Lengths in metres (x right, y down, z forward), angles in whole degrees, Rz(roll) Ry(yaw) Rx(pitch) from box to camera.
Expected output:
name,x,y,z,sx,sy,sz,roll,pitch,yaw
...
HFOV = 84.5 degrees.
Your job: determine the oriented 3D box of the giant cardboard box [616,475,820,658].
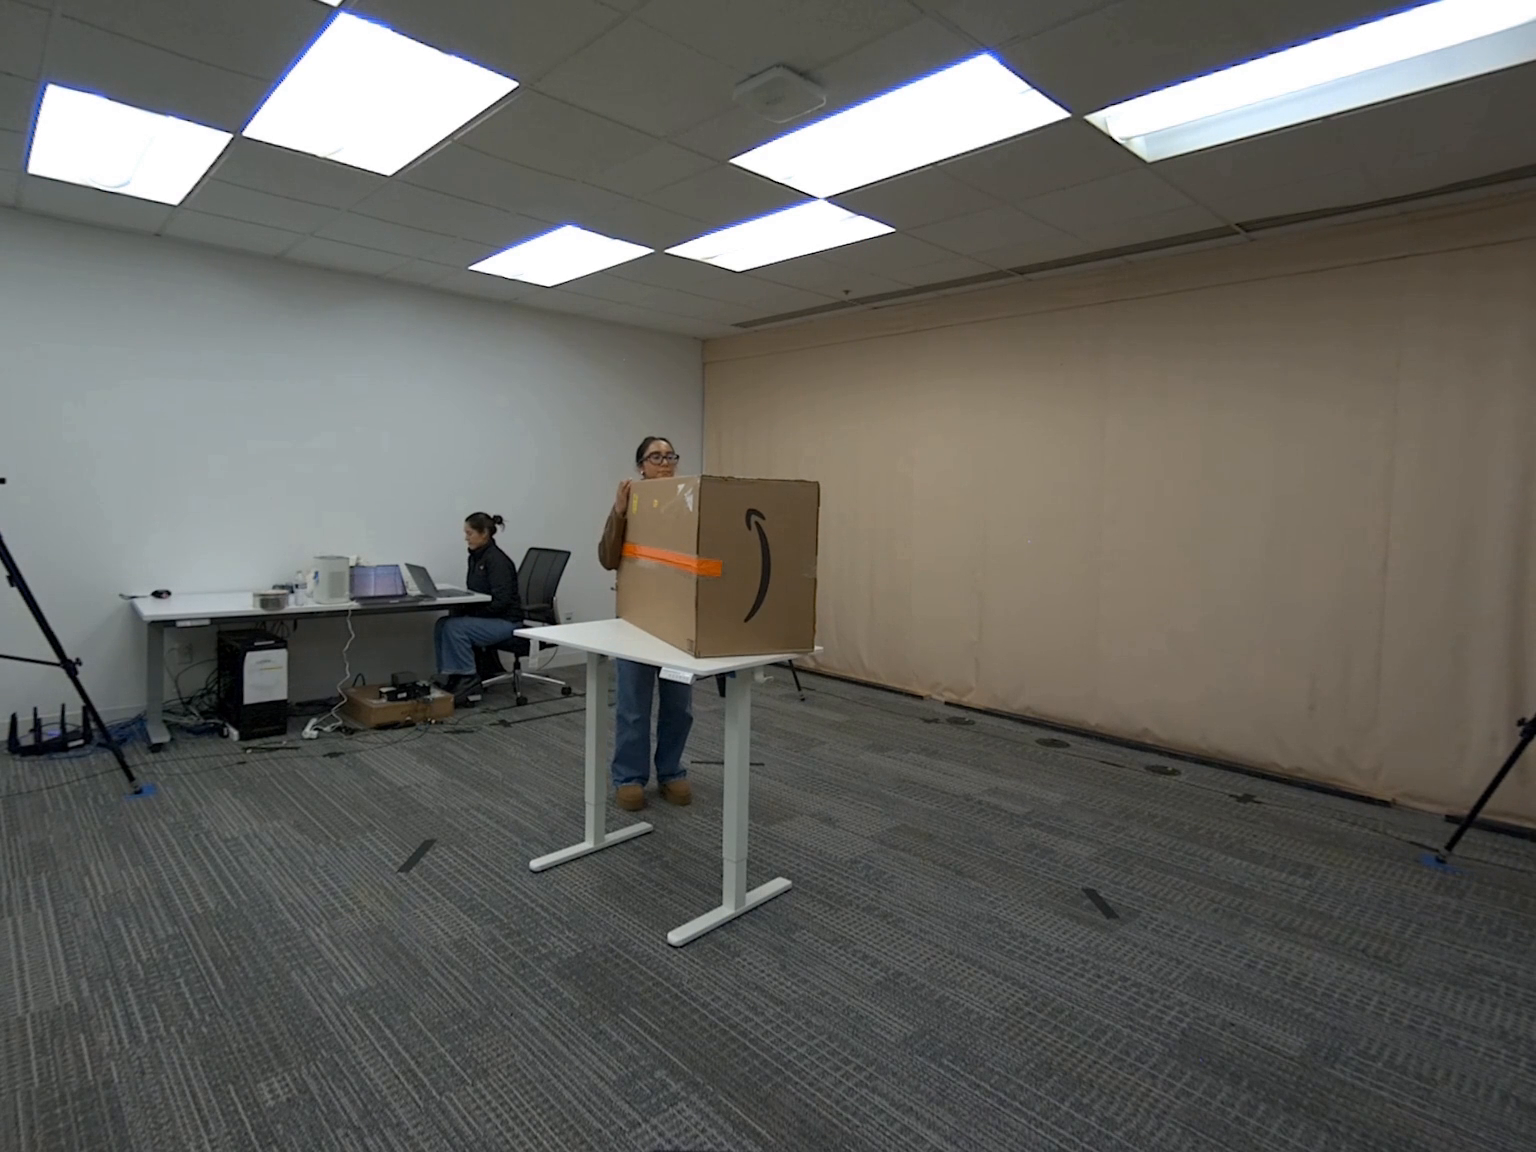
name,x,y,z,sx,sy,sz,roll,pitch,yaw
giant cardboard box,-0.235,-0.067,3.182,0.419,0.576,1.046,1,3,-24
